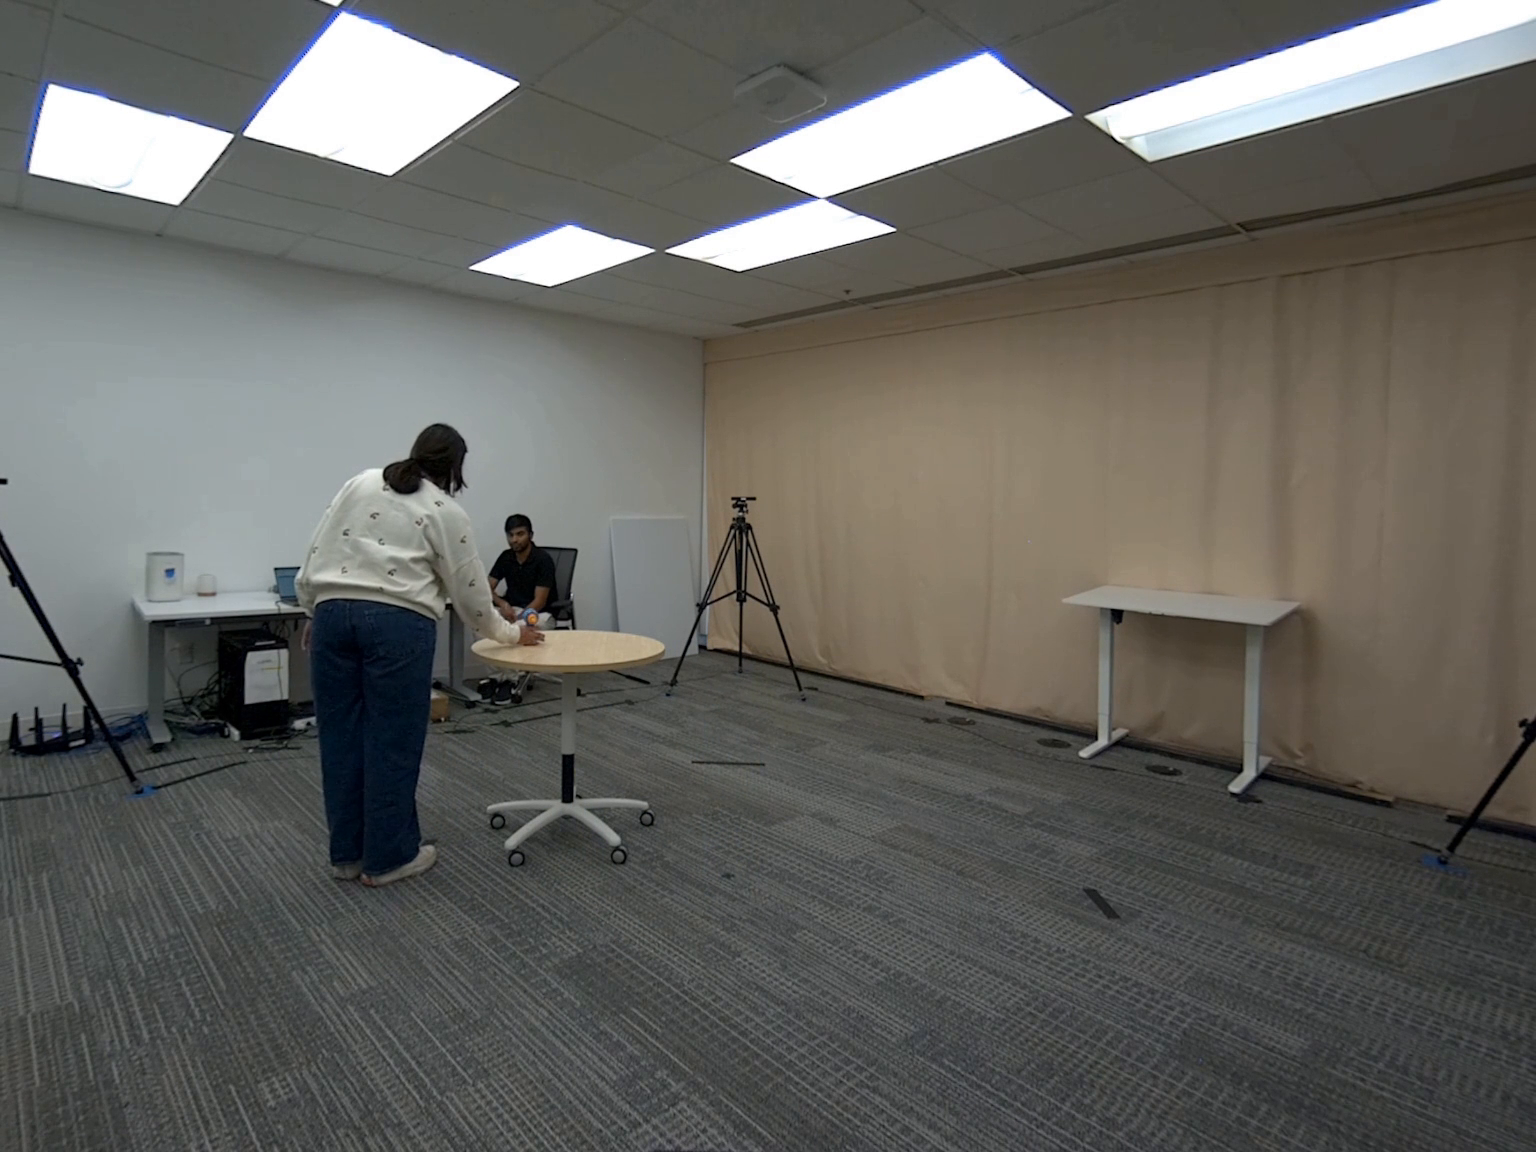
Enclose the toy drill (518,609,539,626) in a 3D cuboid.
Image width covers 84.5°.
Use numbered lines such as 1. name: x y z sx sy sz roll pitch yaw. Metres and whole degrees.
1. toy drill: -0.959 0.207 3.382 0.060 0.145 0.173 2 6 -21
